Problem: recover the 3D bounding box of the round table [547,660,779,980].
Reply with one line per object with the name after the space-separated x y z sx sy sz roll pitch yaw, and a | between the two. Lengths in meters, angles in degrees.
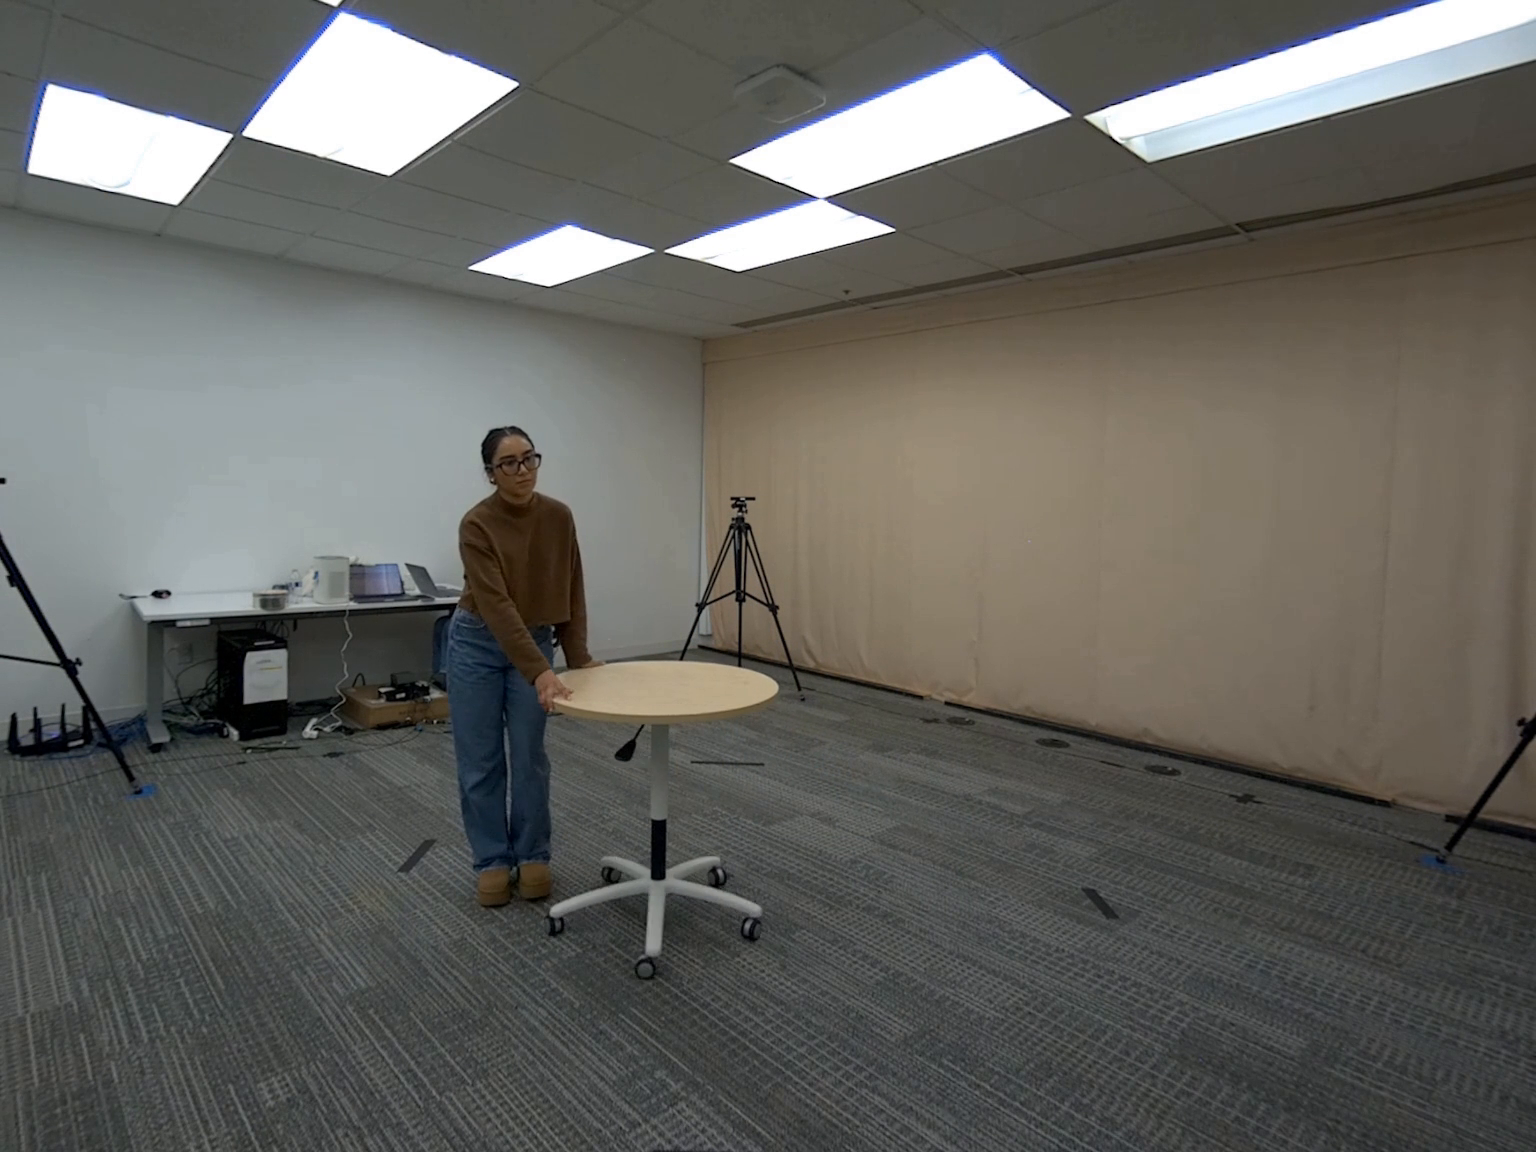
-0.363 0.743 2.734 0.784 0.784 0.788 1 4 -1 | round table
